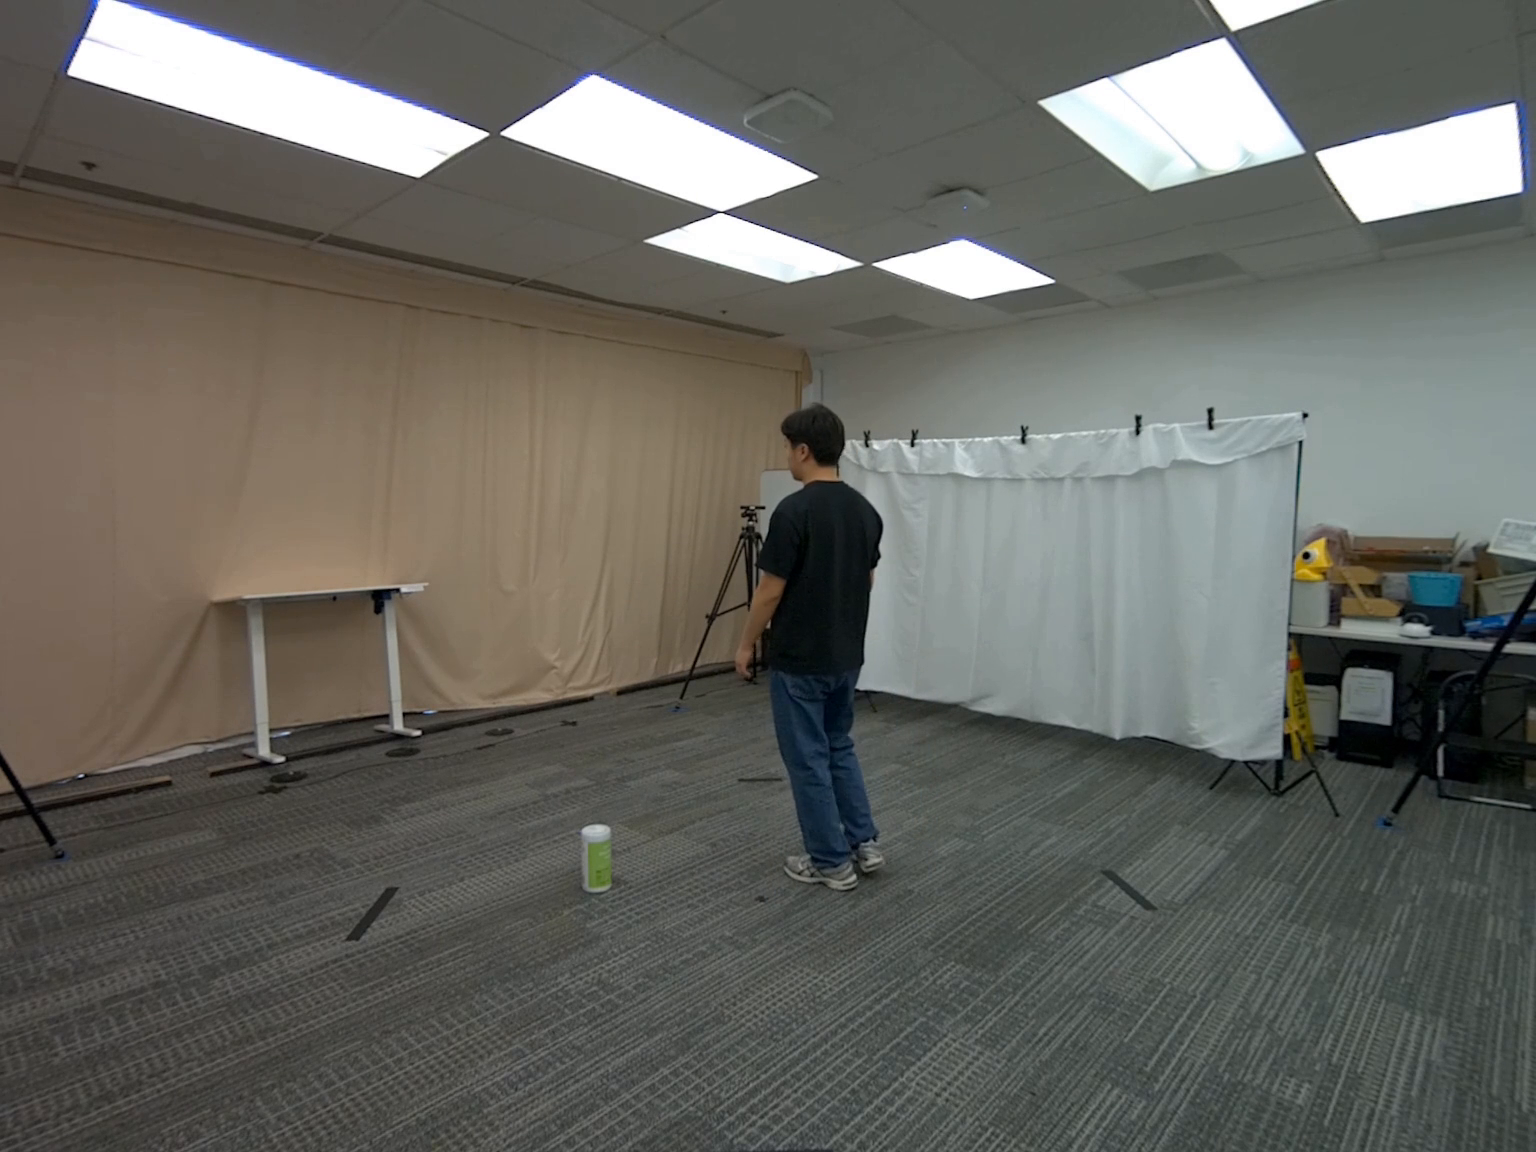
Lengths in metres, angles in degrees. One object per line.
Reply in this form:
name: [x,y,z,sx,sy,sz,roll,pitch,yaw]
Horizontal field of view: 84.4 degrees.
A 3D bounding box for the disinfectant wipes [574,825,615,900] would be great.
disinfectant wipes: [-0.631,1.039,3.083,0.118,0.217,0.118,-2,2,-2]
